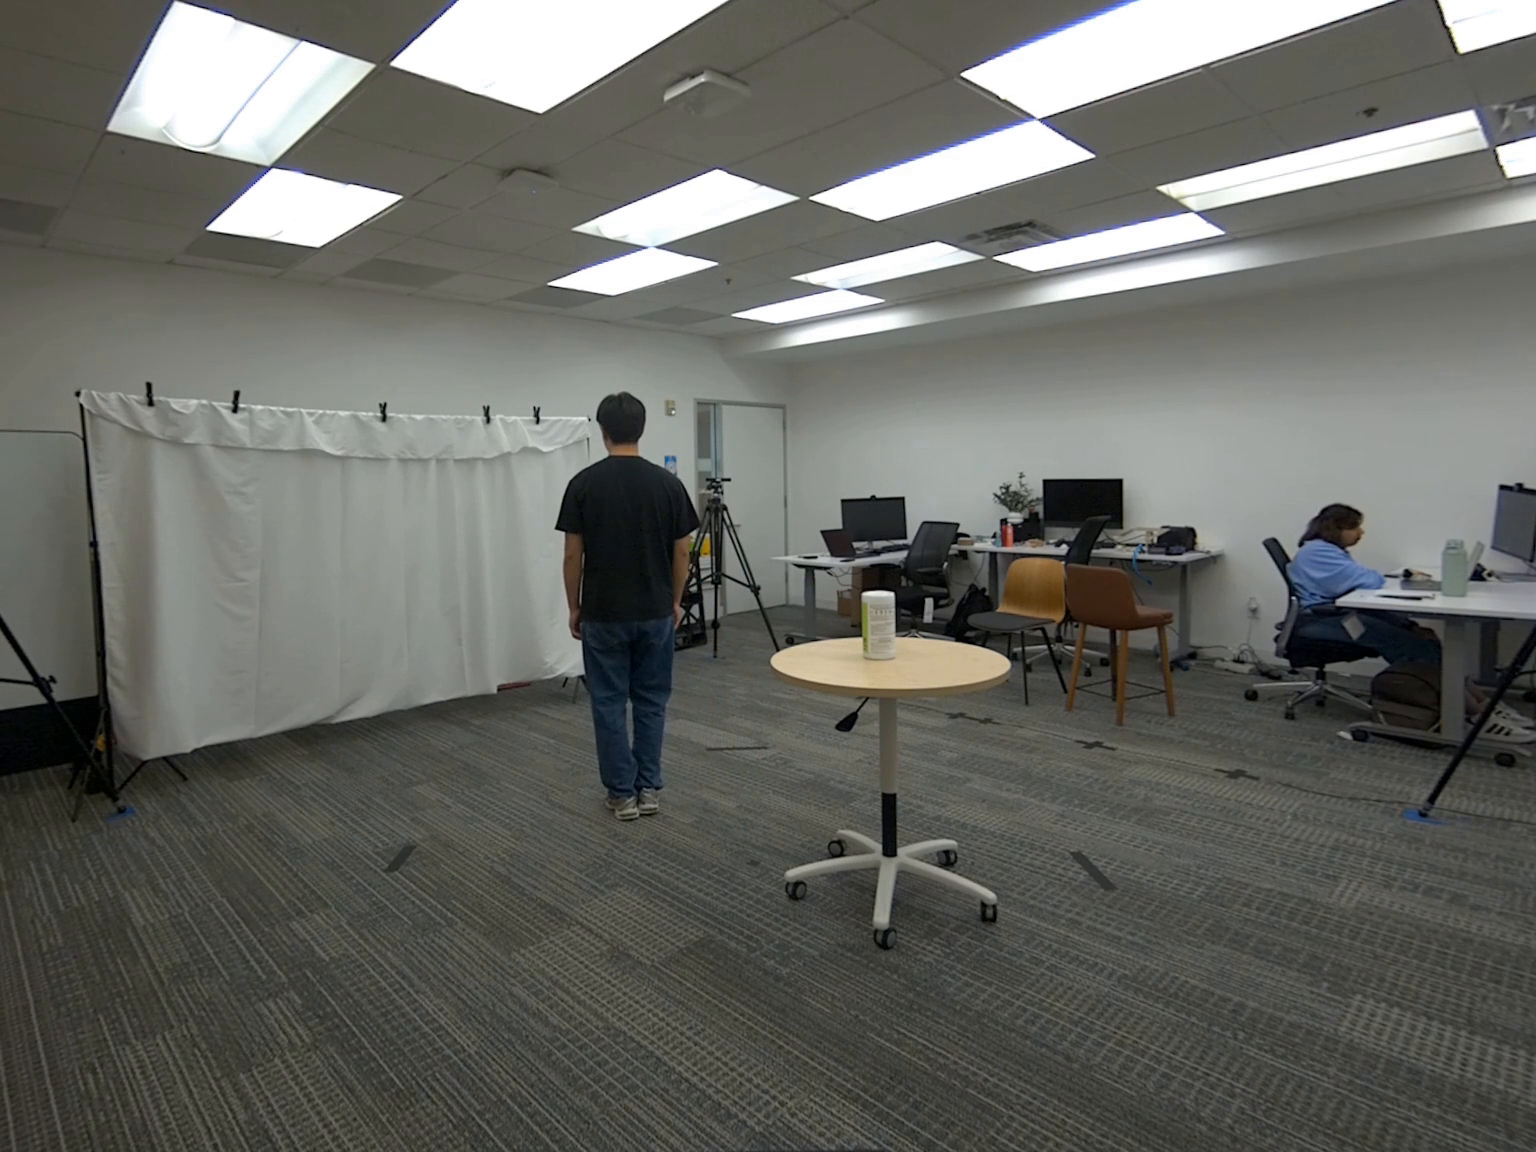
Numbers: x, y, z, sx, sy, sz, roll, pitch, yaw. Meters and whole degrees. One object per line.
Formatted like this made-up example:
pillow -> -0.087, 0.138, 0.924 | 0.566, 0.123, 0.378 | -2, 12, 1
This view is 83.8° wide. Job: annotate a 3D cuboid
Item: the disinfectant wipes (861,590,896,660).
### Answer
disinfectant wipes -> 0.375, 0.166, 2.829 | 0.118, 0.217, 0.118 | -2, 4, -2
